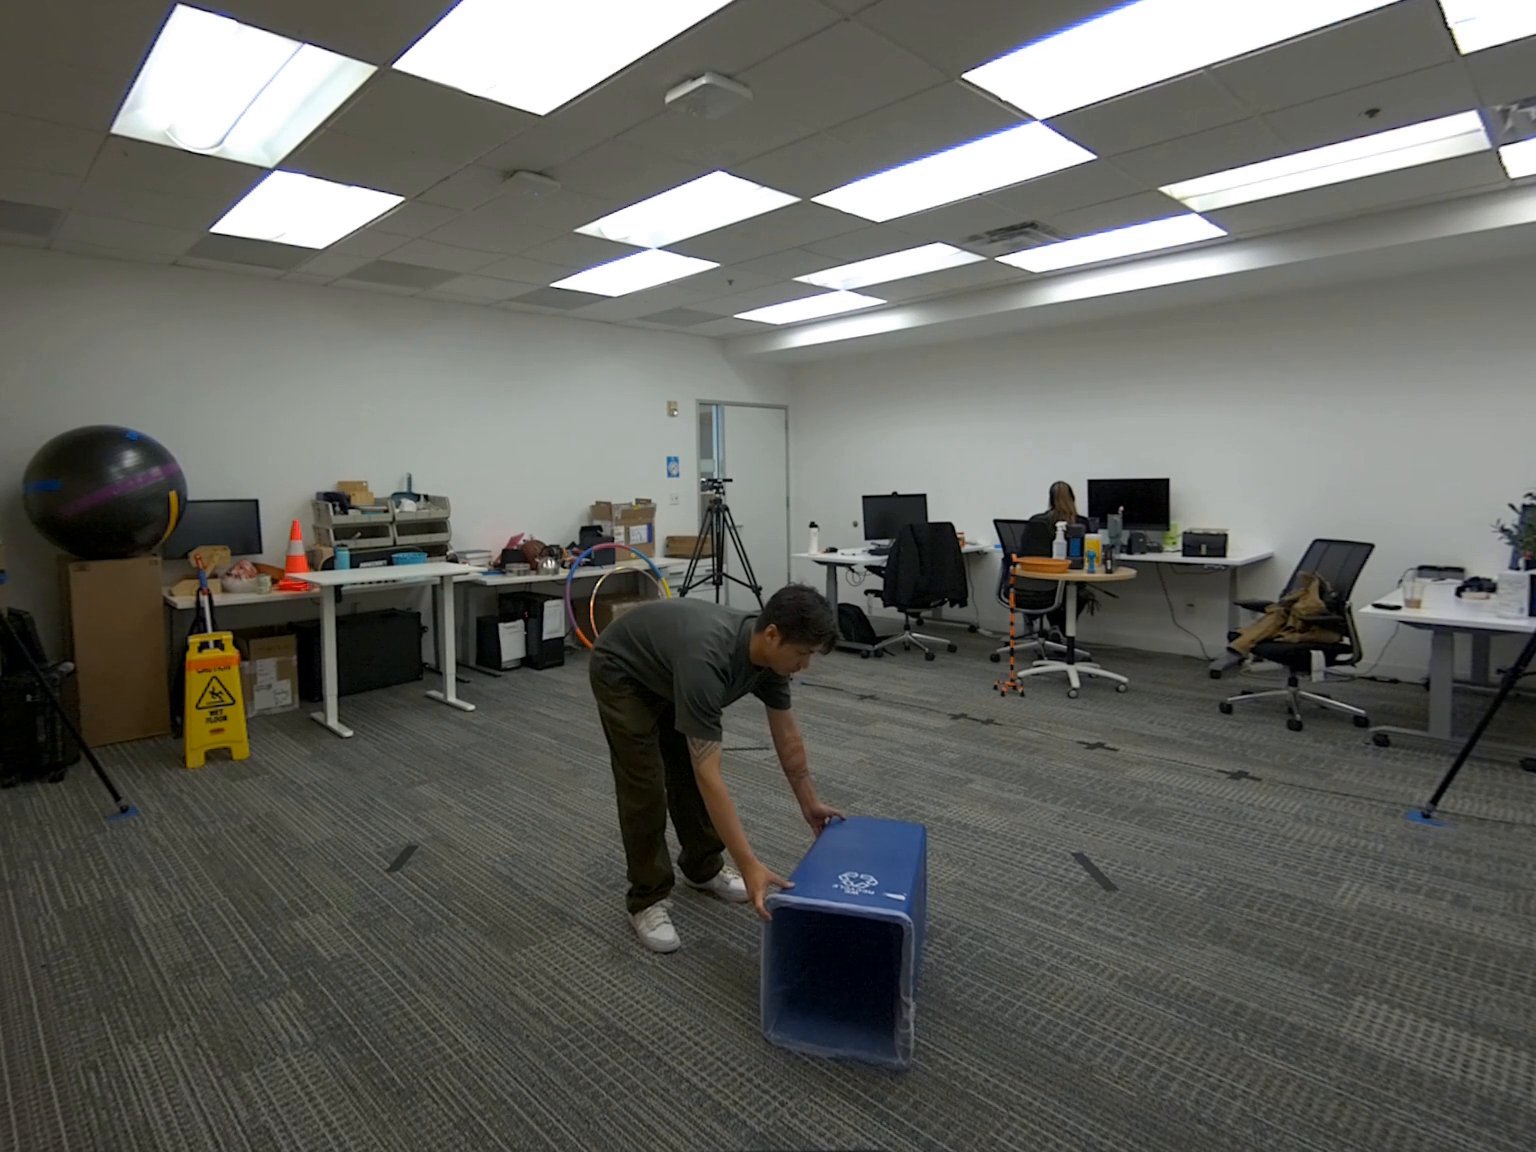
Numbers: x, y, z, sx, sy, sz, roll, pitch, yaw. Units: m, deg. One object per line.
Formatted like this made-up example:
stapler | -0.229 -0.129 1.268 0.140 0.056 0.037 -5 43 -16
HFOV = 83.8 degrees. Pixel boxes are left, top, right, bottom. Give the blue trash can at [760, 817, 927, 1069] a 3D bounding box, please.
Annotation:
blue trash can | 0.258 0.945 2.388 0.384 0.373 0.704 -1 4 17
